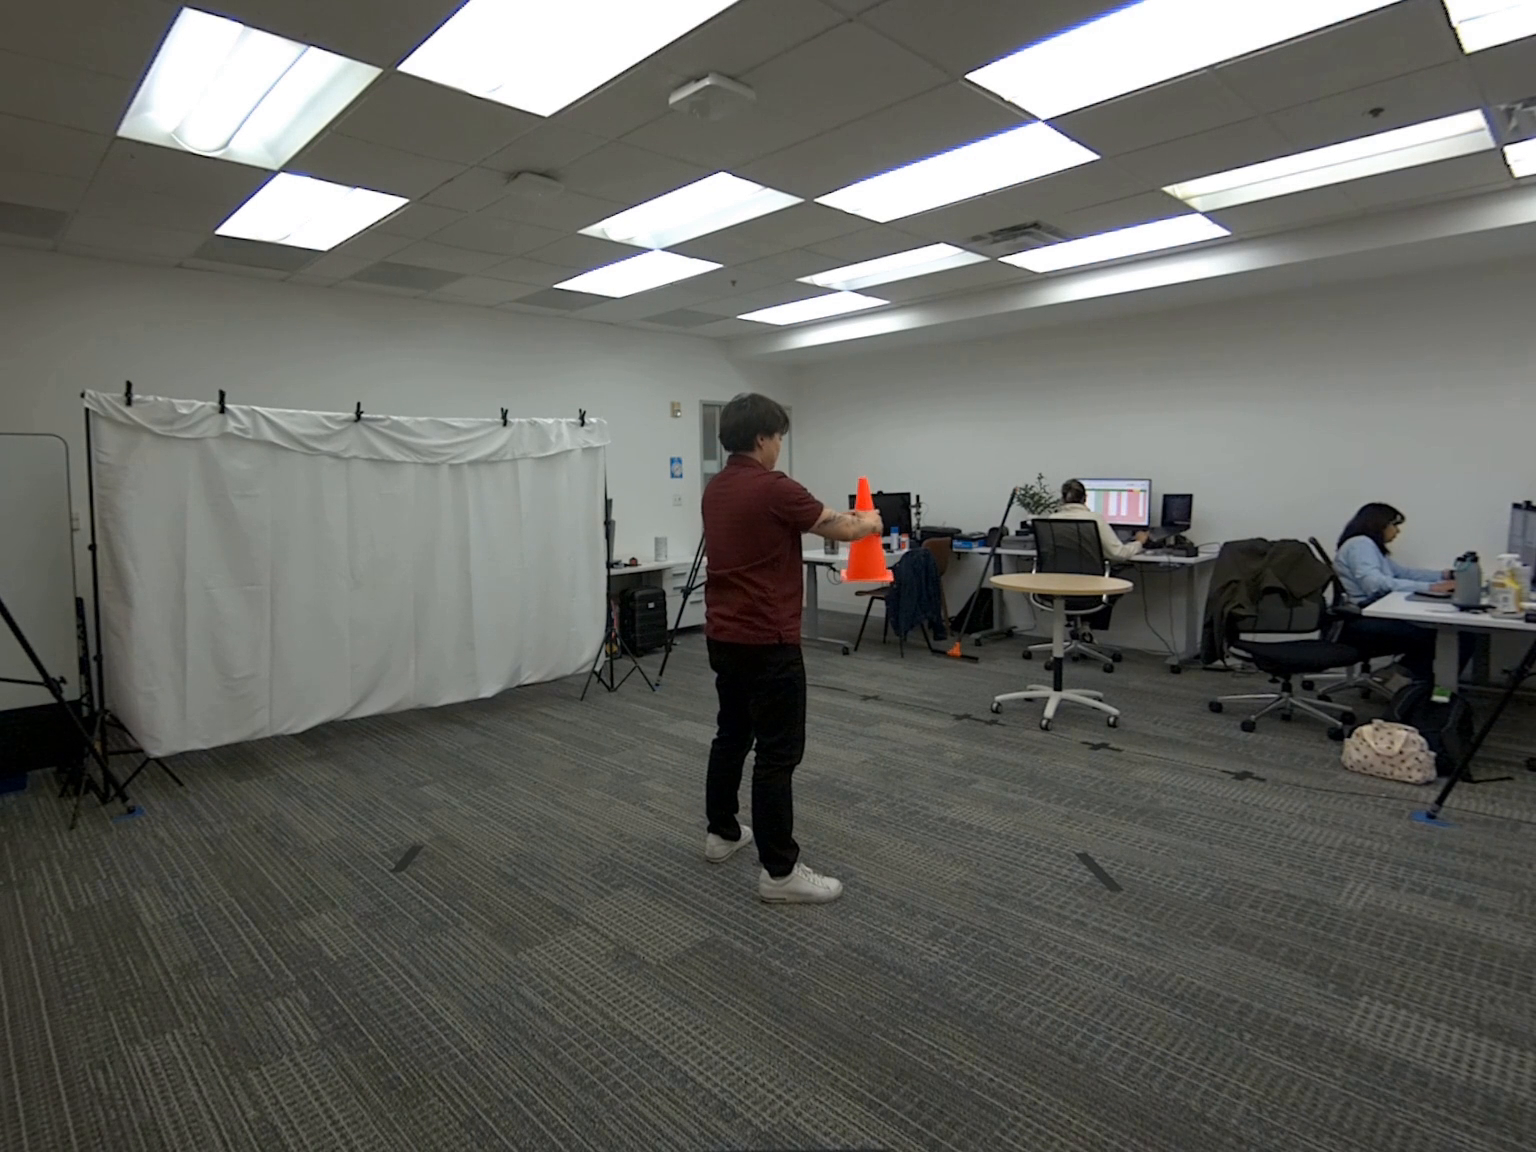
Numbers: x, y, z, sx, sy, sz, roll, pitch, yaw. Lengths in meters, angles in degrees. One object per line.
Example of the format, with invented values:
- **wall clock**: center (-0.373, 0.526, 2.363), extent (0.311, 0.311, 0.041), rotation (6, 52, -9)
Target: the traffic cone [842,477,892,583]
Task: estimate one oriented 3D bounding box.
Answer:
- **traffic cone**: center (0.381, -0.184, 3.271), extent (0.206, 0.380, 0.204), rotation (-2, 10, 7)
